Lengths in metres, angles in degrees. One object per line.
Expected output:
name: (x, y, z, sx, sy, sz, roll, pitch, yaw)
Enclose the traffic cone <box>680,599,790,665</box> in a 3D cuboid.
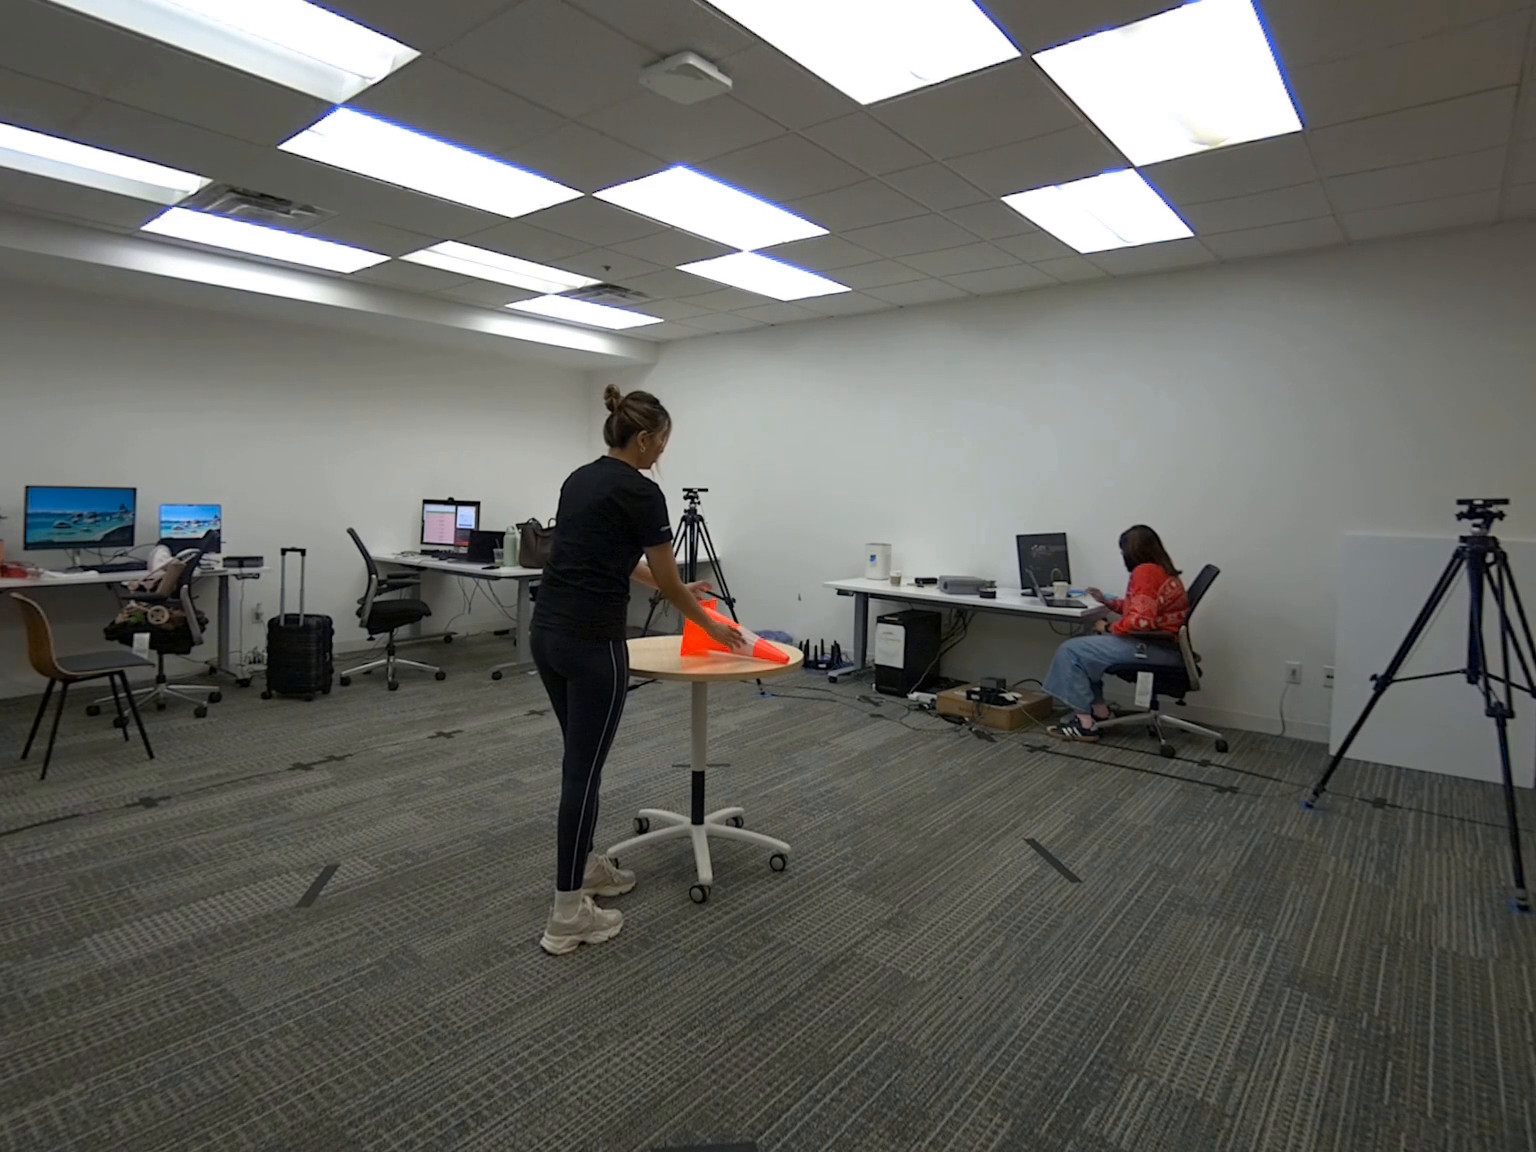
traffic cone: (-0.105, 0.235, 3.045, 0.396, 0.201, 0.200, 16, 13, 27)
